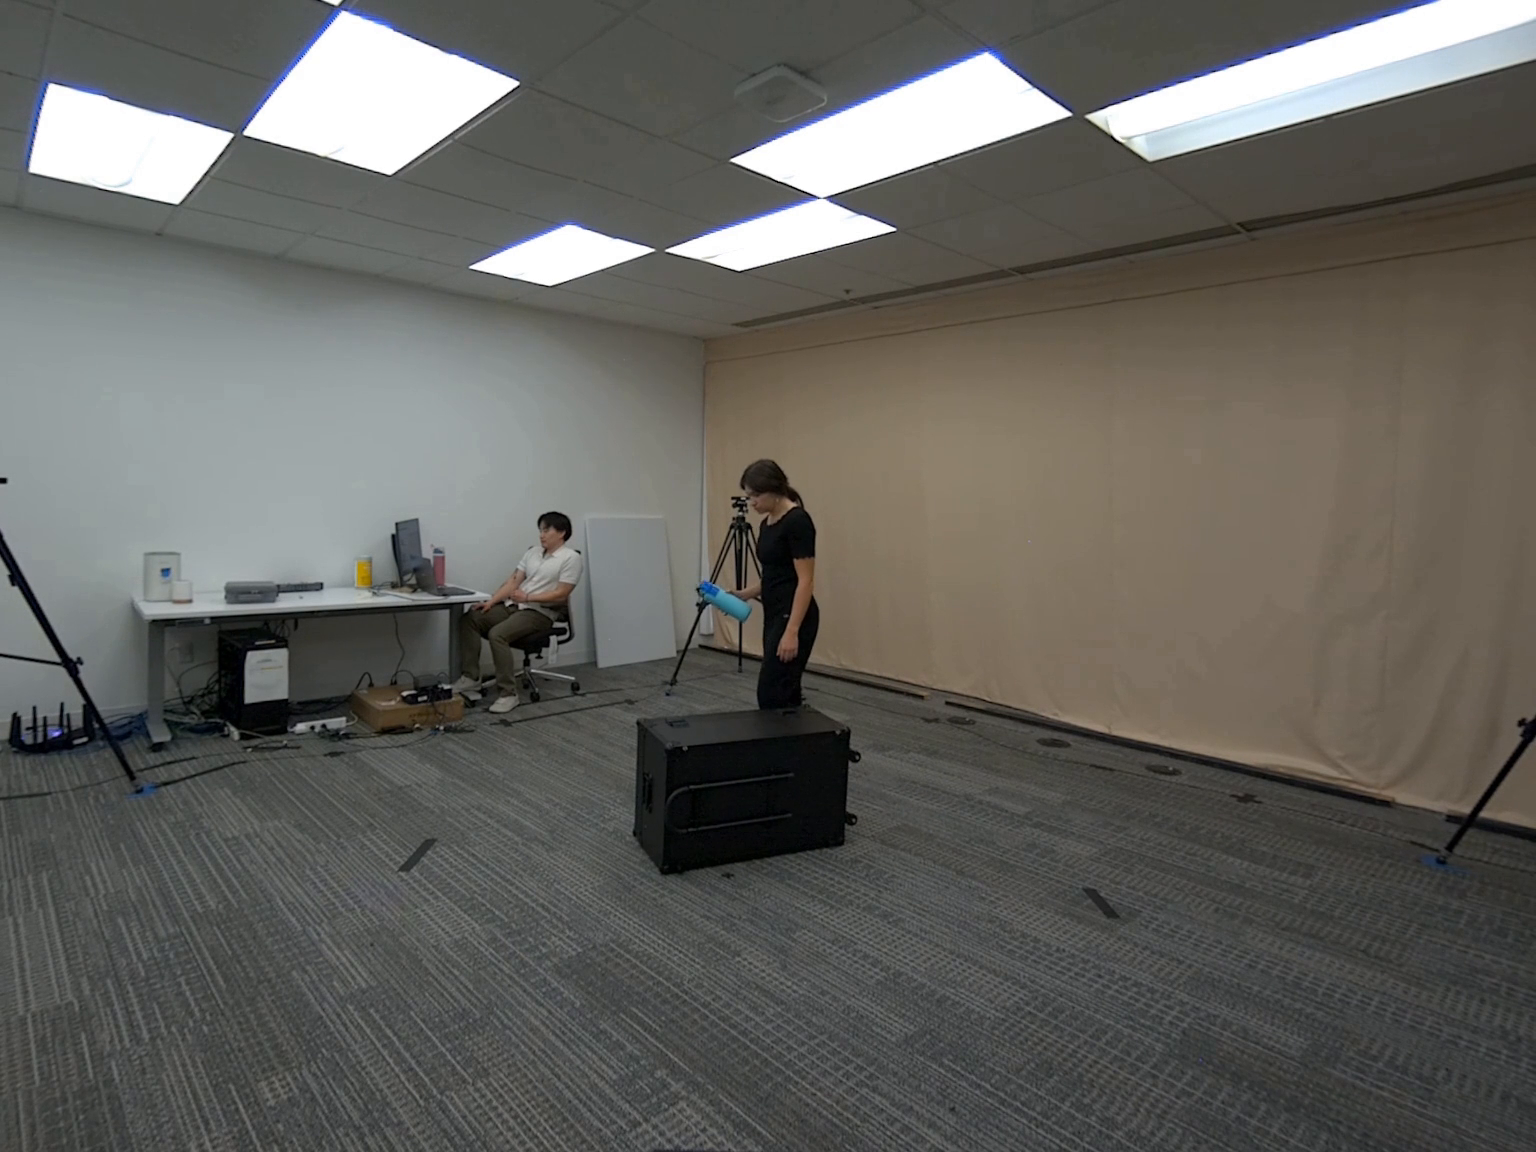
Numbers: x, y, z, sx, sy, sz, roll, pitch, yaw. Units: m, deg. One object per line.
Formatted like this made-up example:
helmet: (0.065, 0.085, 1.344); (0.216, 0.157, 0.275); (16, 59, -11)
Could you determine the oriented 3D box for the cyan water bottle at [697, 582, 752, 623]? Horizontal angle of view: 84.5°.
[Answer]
cyan water bottle: (-0.224, 0.109, 4.010); (0.285, 0.092, 0.092); (30, 7, 6)
